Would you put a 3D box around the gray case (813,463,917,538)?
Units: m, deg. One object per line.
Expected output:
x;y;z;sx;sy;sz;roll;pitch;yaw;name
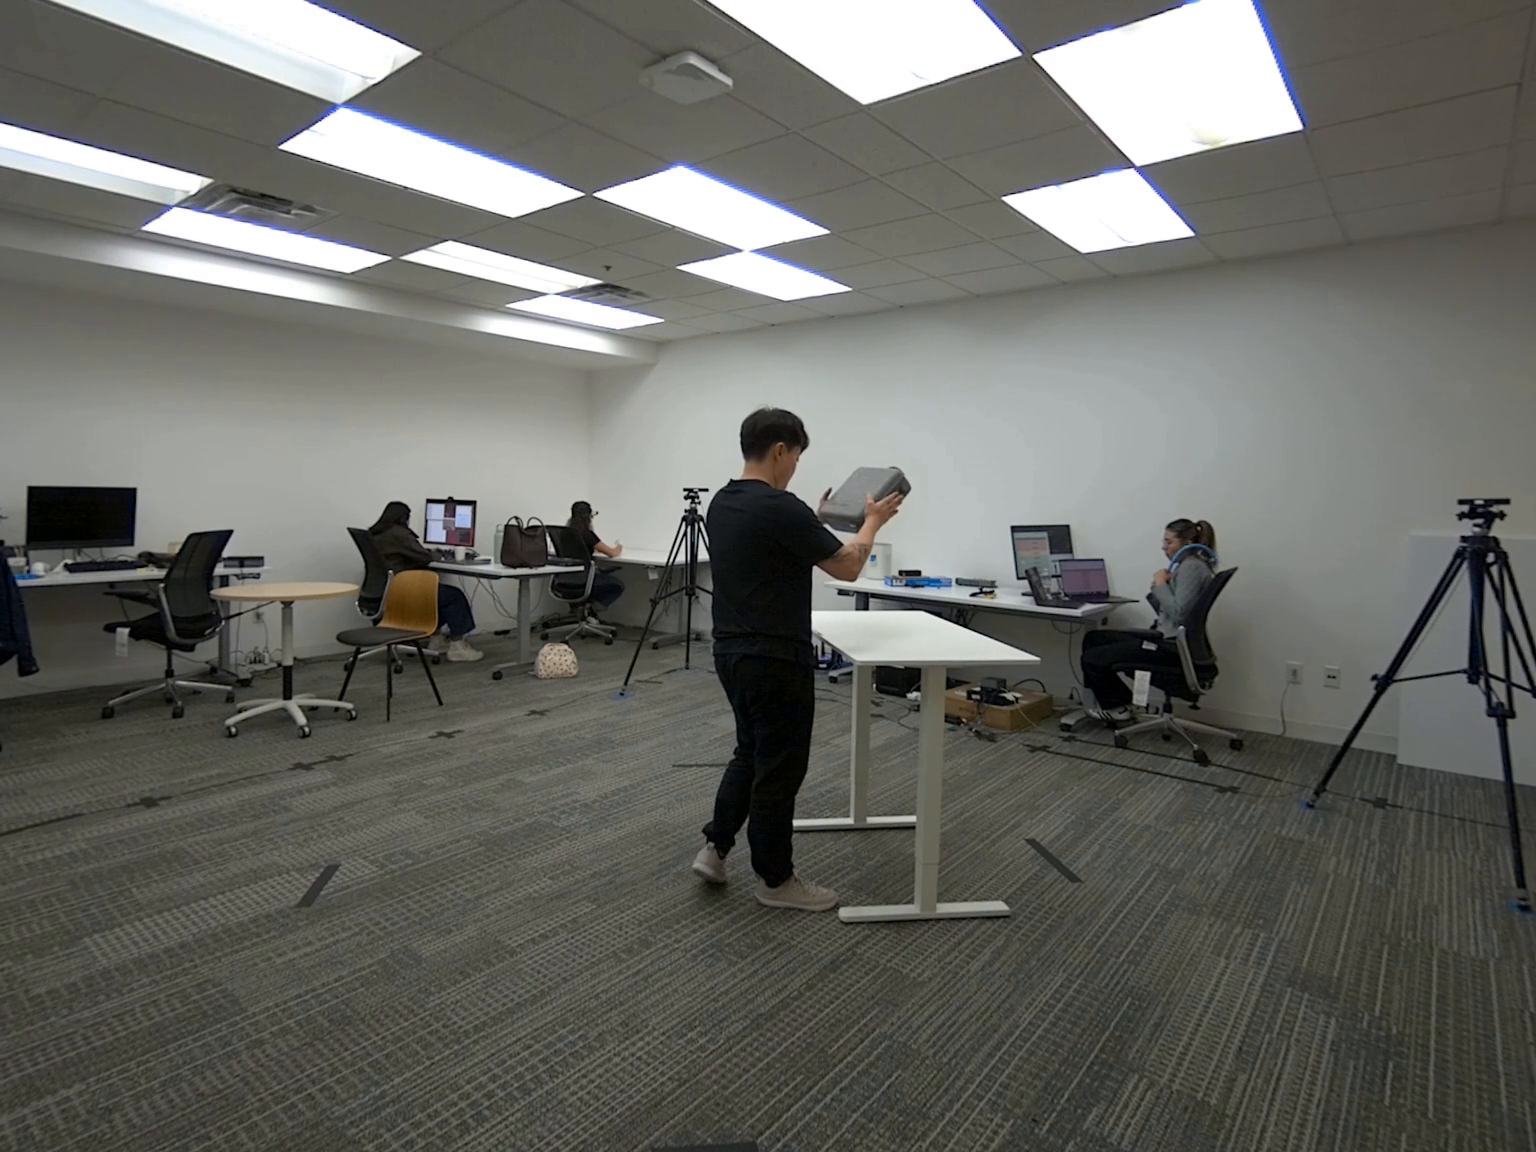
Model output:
0.338;-0.272;2.999;0.260;0.101;0.265;-45;24;-13;gray case
